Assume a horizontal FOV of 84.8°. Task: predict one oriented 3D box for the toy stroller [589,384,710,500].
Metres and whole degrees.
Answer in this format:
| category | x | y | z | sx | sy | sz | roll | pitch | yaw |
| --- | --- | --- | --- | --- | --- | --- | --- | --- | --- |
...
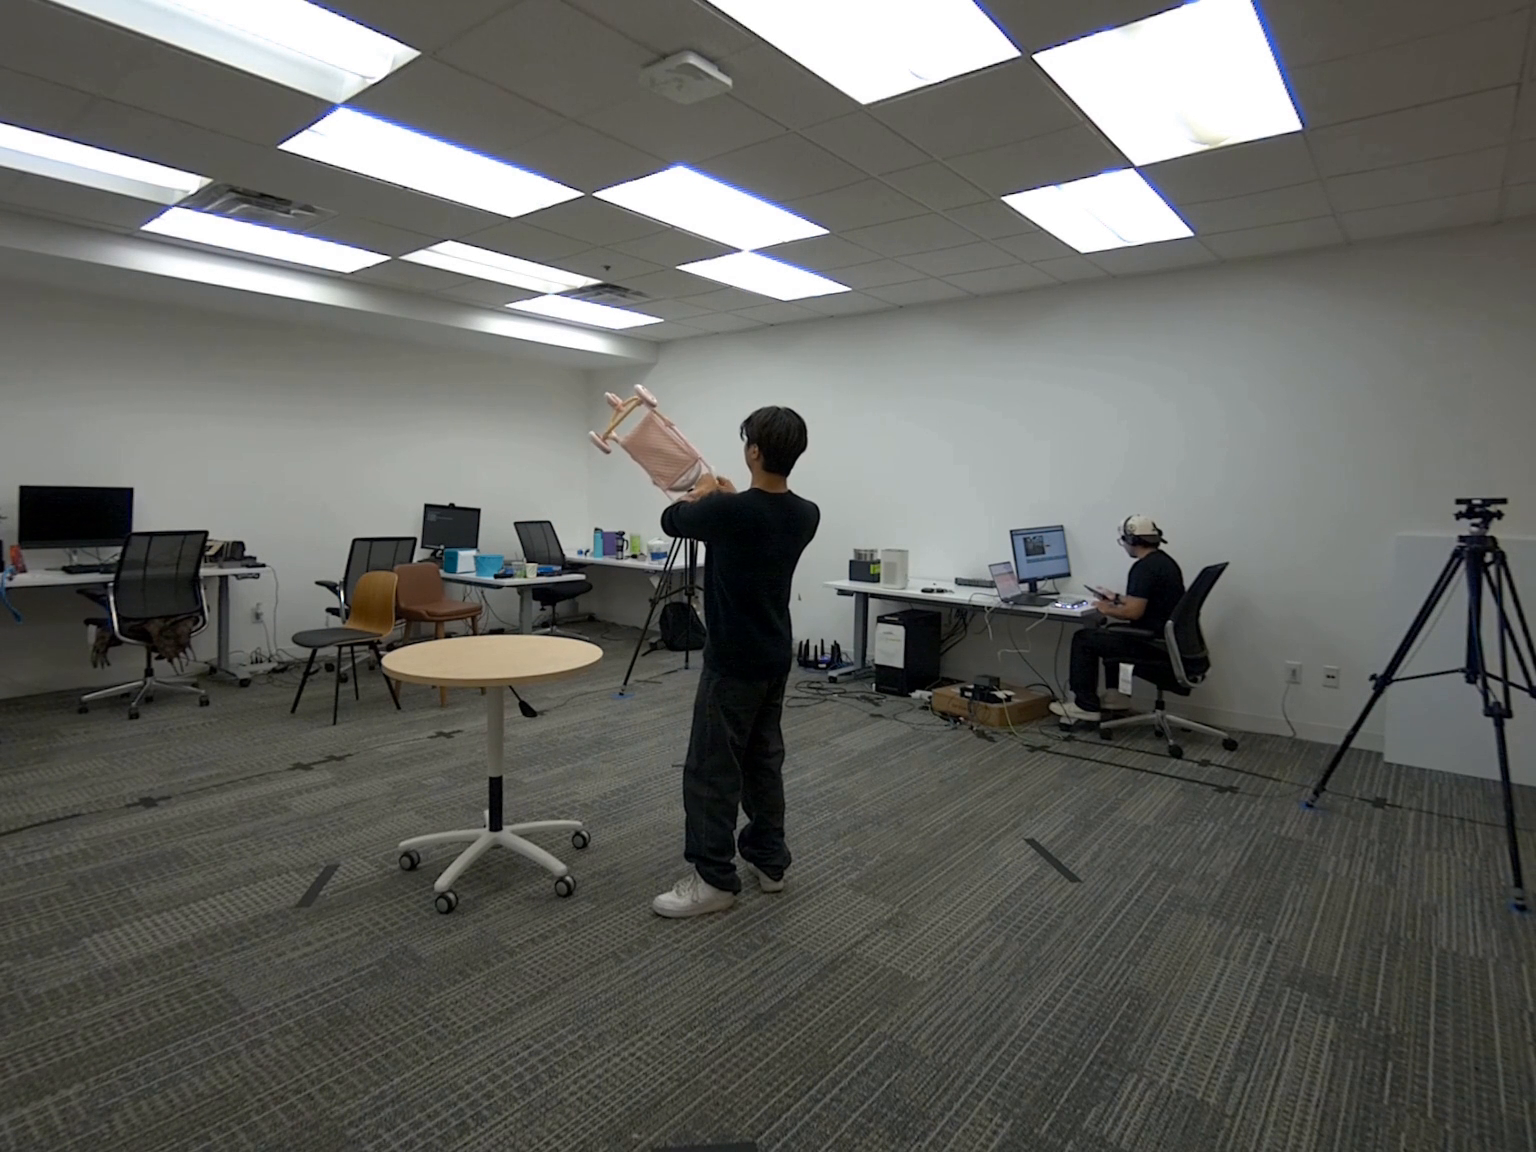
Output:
| category | x | y | z | sx | sy | sz | roll | pitch | yaw |
| --- | --- | --- | --- | --- | --- | --- | --- | --- | --- |
| toy stroller | -0.465 | -0.521 | 3.330 | 0.527 | 0.281 | 0.347 | 43 | 3 | -12 |
